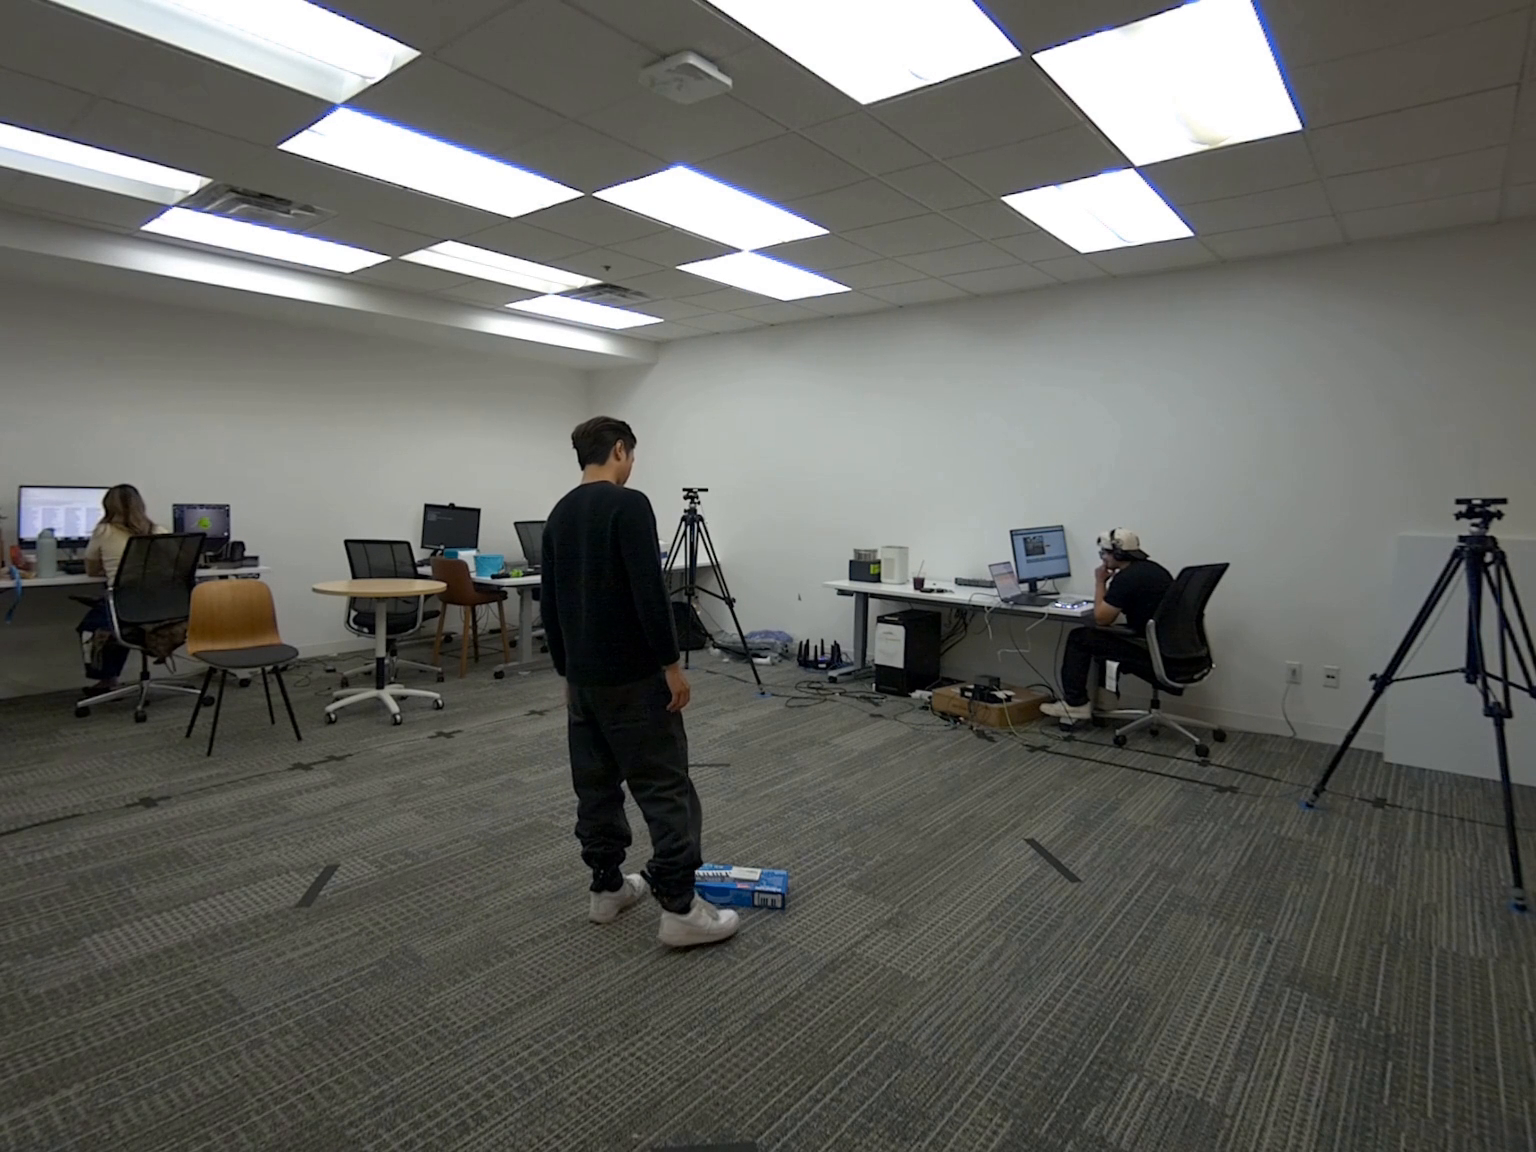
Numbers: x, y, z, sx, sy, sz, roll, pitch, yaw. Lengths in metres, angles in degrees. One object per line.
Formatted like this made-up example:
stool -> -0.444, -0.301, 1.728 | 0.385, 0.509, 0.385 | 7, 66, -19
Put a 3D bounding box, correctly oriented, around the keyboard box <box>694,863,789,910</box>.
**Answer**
keyboard box -> -0.167, 1.055, 2.930 | 0.441, 0.059, 0.175 | 2, 4, 8
